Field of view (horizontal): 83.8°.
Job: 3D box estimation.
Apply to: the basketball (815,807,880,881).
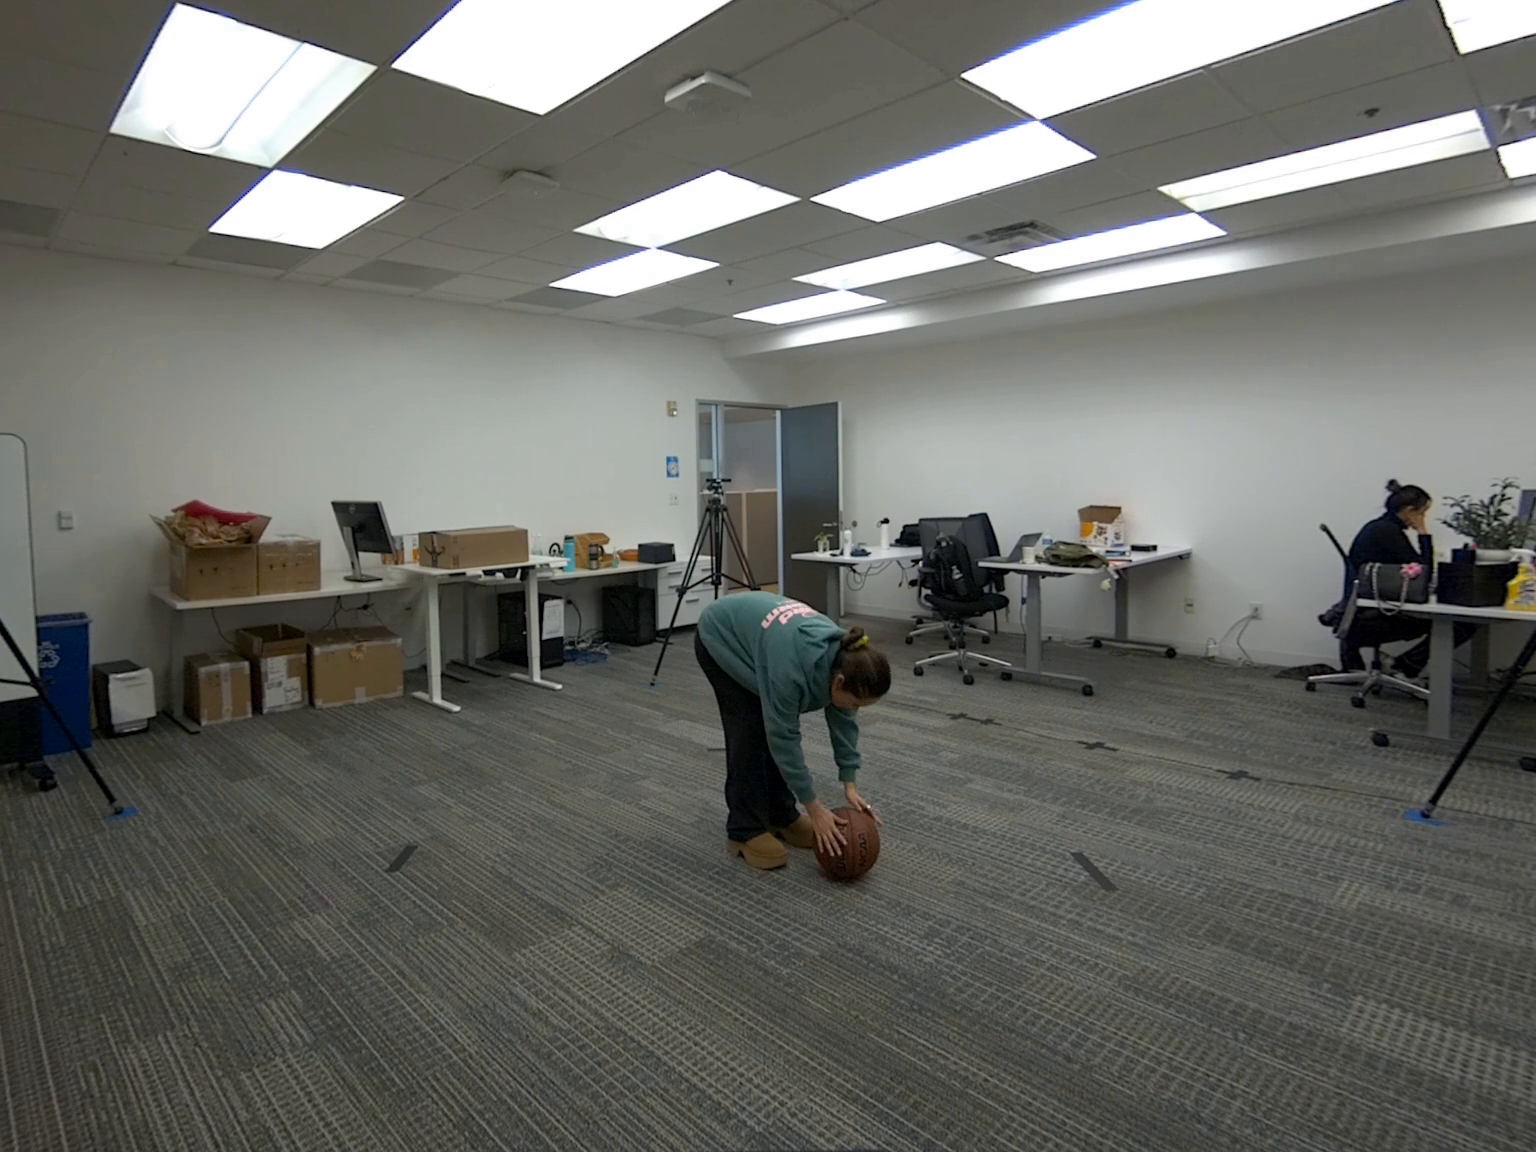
[{"bbox_3d":[0.278,0.935,2.994,0.236,0.235,0.237,-1,5,-2],"label":"basketball"}]
